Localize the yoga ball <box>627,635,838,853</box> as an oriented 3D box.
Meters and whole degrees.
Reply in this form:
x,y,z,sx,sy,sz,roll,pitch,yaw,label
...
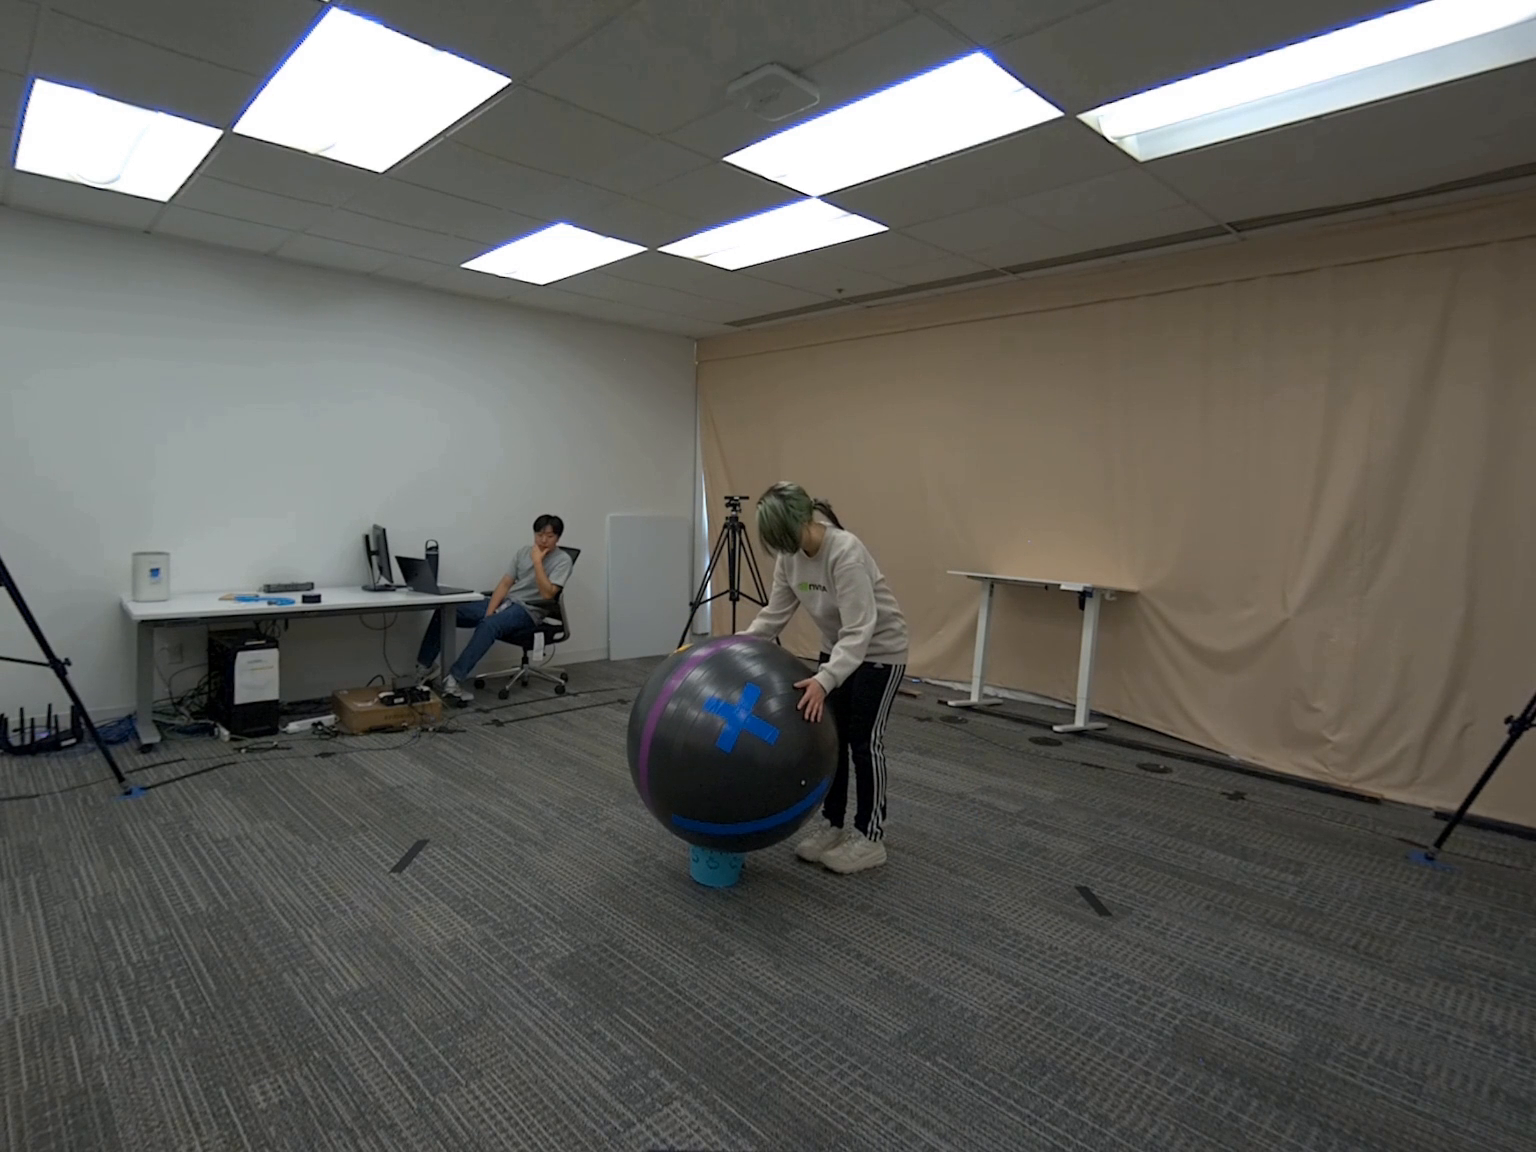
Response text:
x,y,z,sx,sy,sz,roll,pitch,yaw,label
-0.134,0.598,3.015,0.757,0.756,0.761,1,4,-1,yoga ball
